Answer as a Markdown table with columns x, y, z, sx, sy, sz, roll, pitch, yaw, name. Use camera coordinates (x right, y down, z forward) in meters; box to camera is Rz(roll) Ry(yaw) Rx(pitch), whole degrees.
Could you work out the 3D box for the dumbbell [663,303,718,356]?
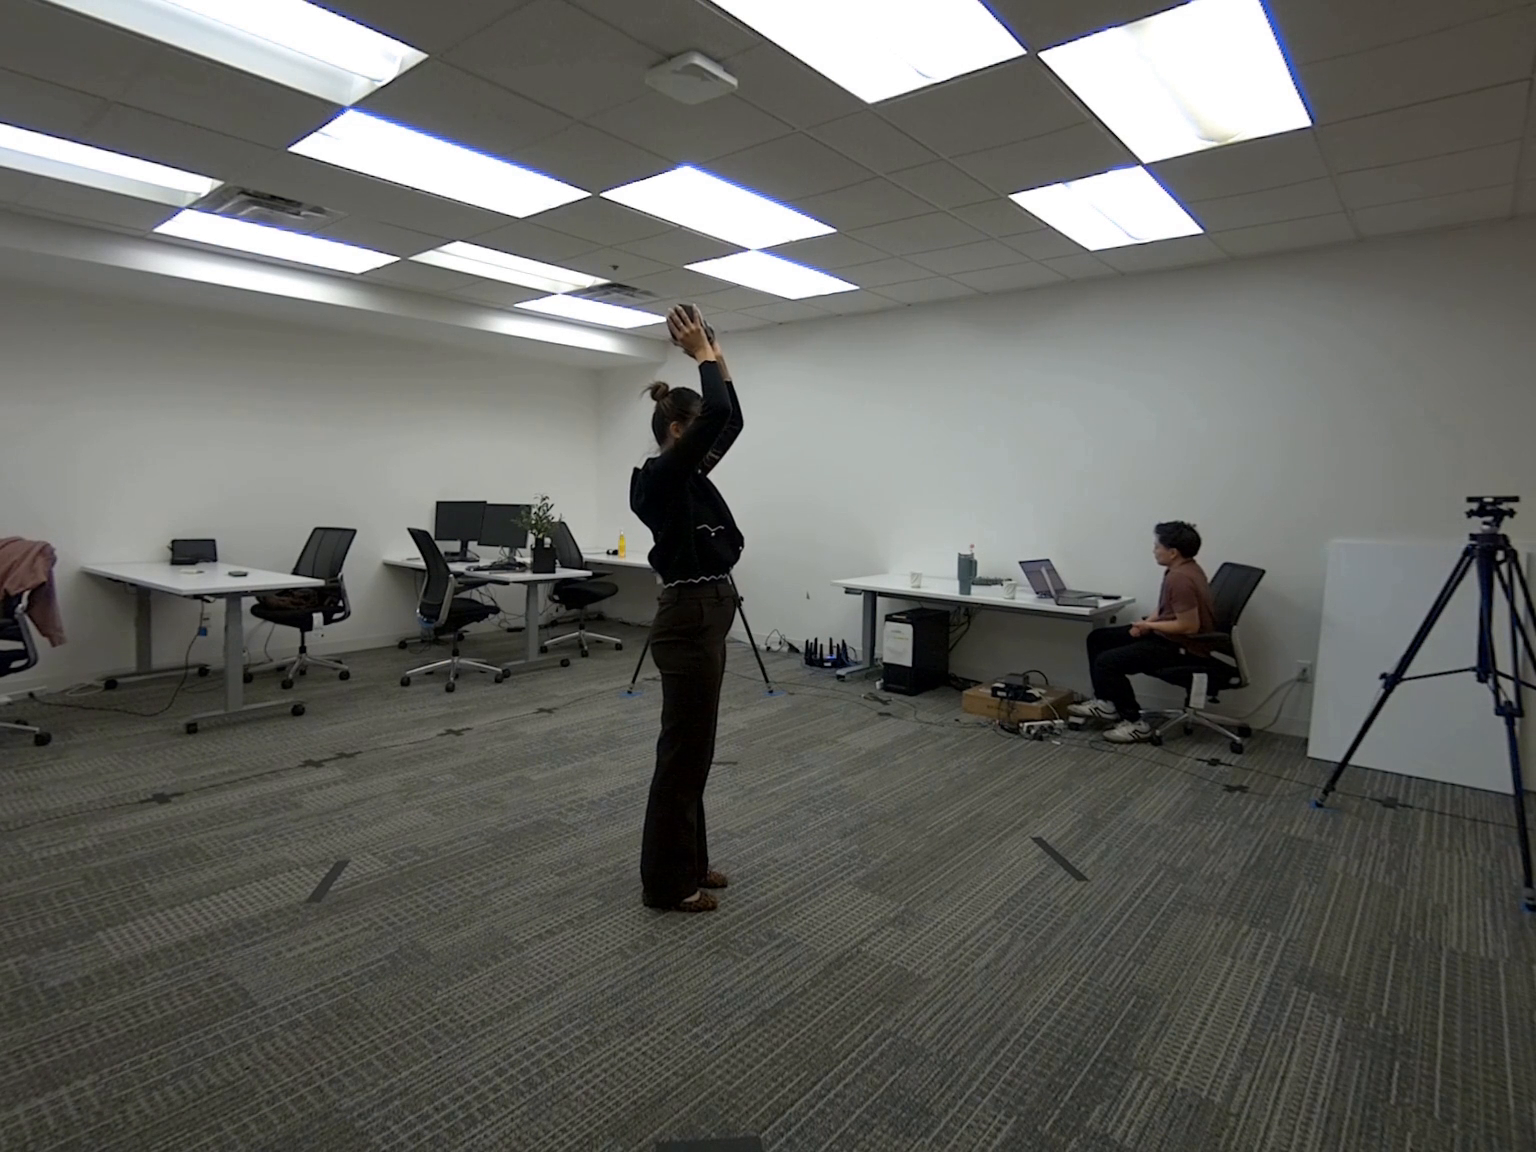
| x | y | z | sx | sy | sz | roll | pitch | yaw | name |
| --- | --- | --- | --- | --- | --- | --- | --- | --- | --- |
| -0.255 | -0.810 | 2.794 | 0.124 | 0.108 | 0.293 | 10 | 5 | 3 | dumbbell |
